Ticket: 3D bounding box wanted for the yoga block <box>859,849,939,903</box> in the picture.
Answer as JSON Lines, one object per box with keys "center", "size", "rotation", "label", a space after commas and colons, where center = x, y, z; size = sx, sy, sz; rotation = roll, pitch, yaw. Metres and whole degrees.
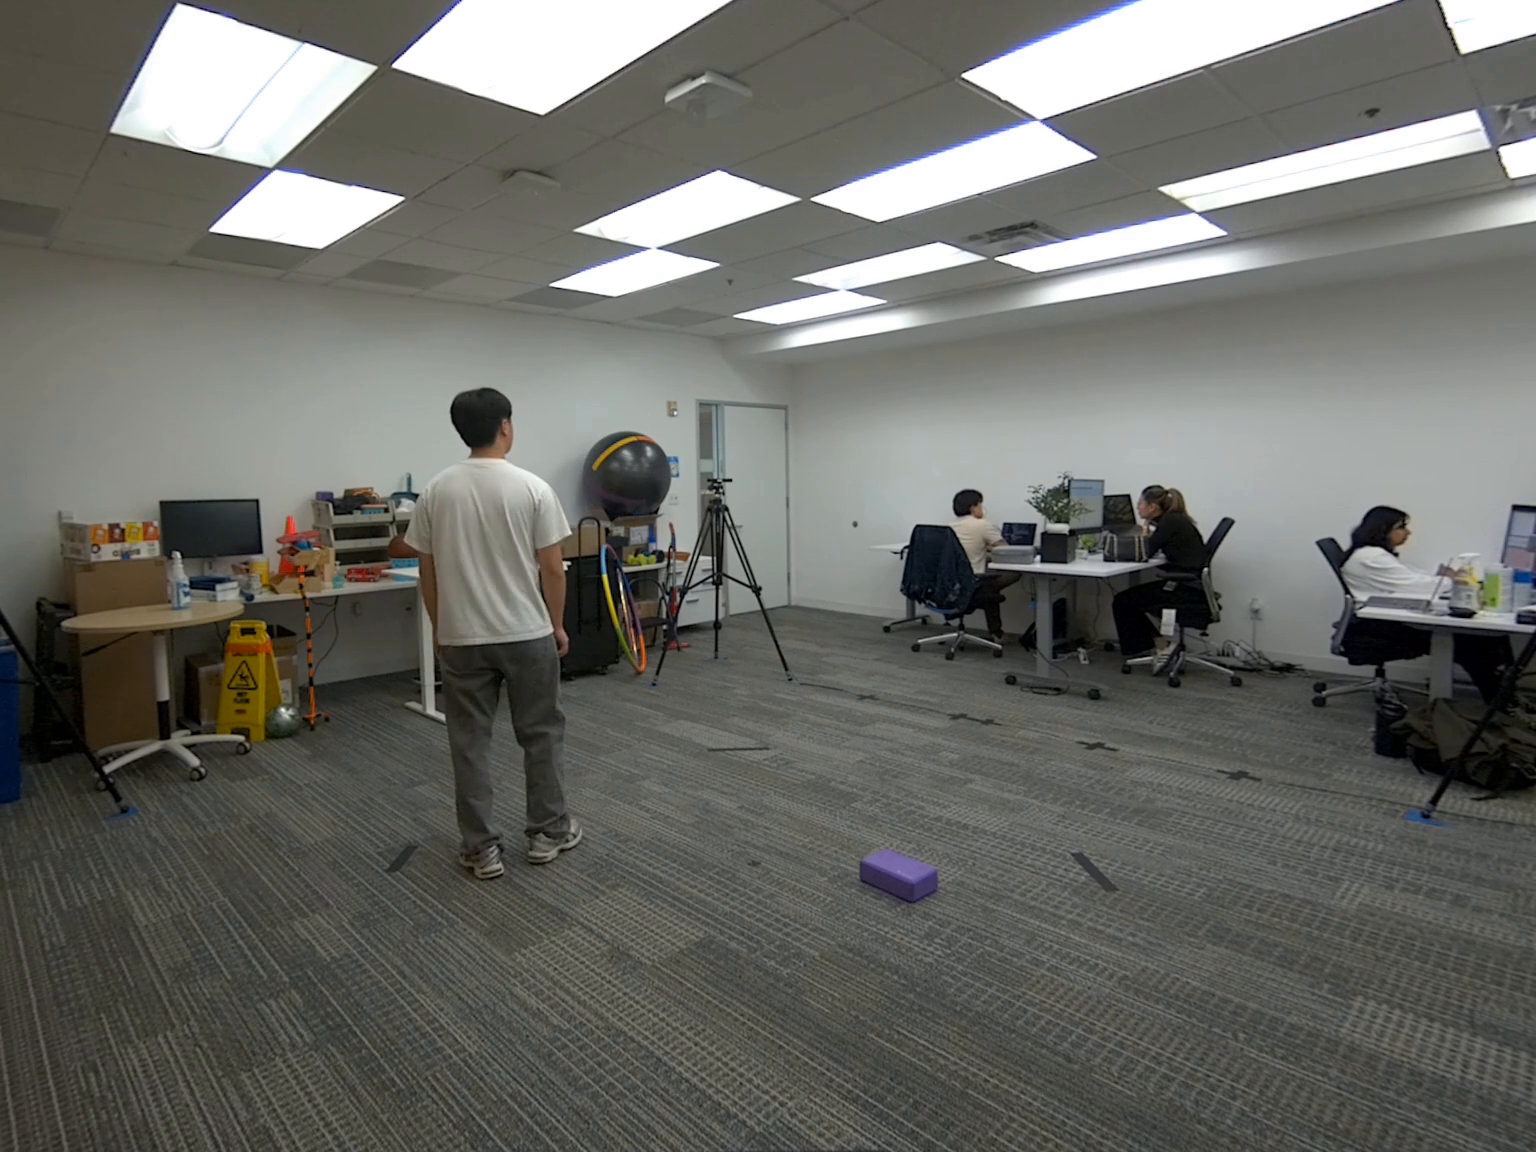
{"center": [0.445, 1.013, 2.914], "size": [0.145, 0.076, 0.236], "rotation": [-6, 9, -42], "label": "yoga block"}
